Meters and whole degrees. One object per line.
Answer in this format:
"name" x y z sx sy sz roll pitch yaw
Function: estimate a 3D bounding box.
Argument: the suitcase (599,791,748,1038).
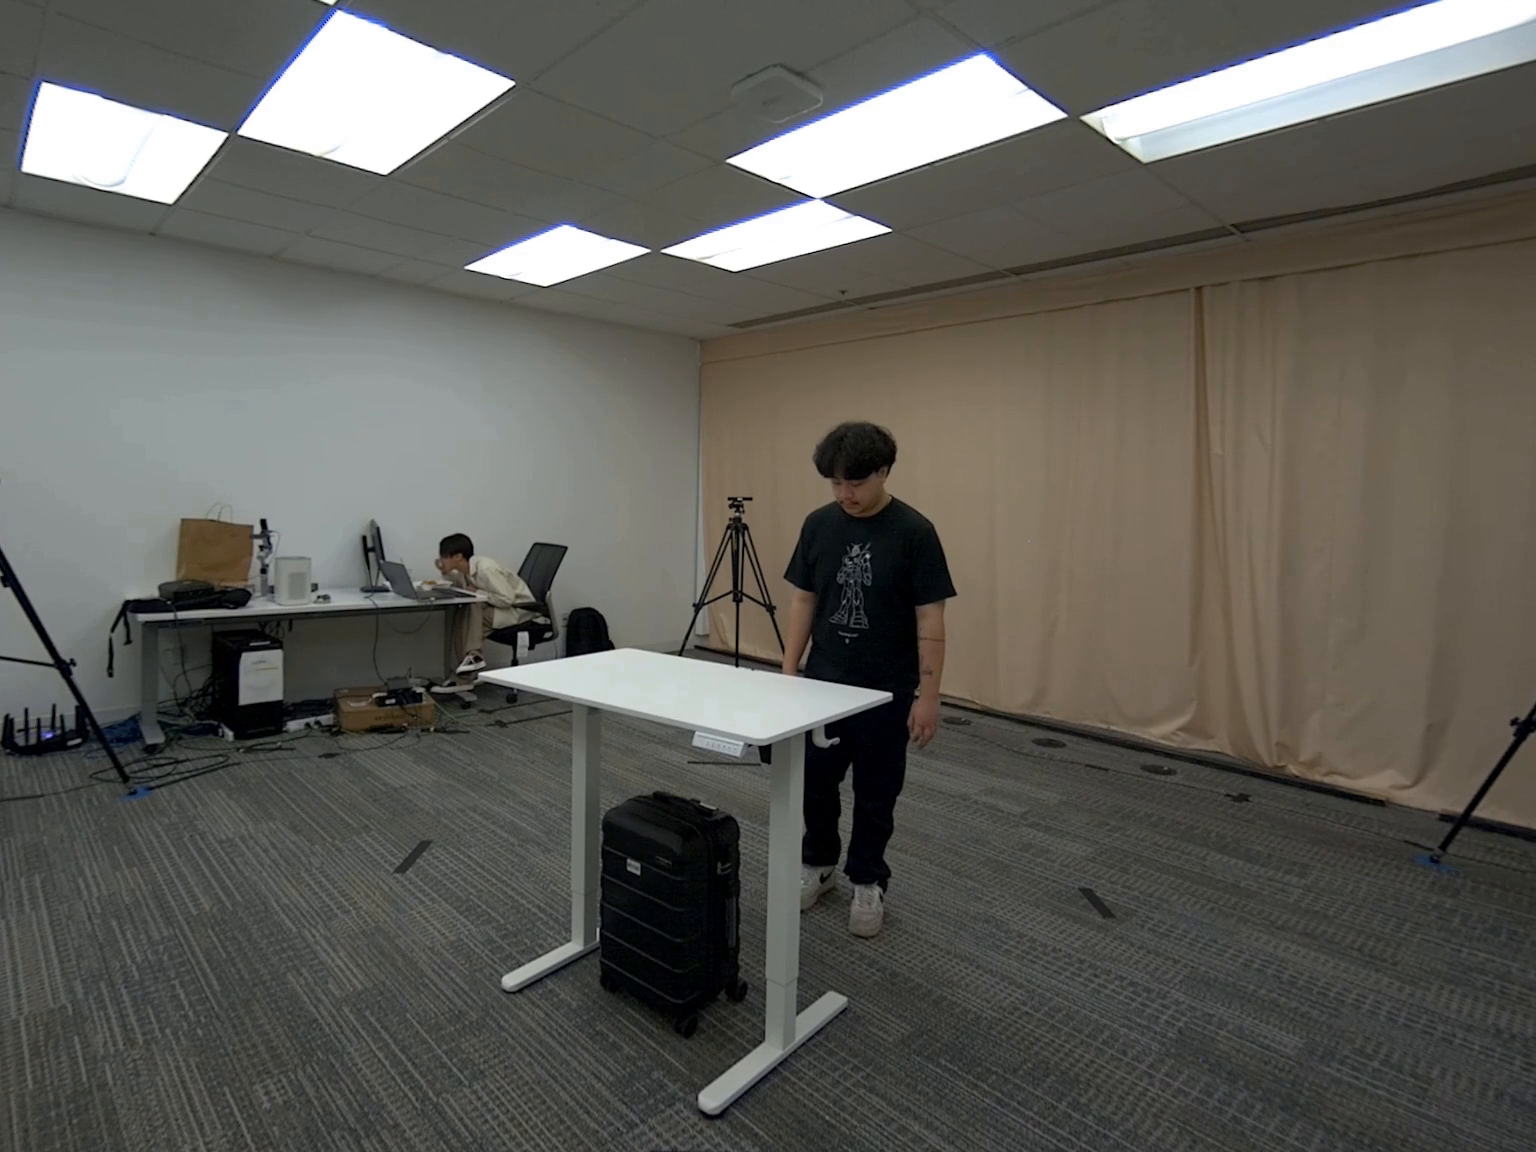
"suitcase" -0.274 0.904 2.321 0.385 0.547 0.243 5 7 40
